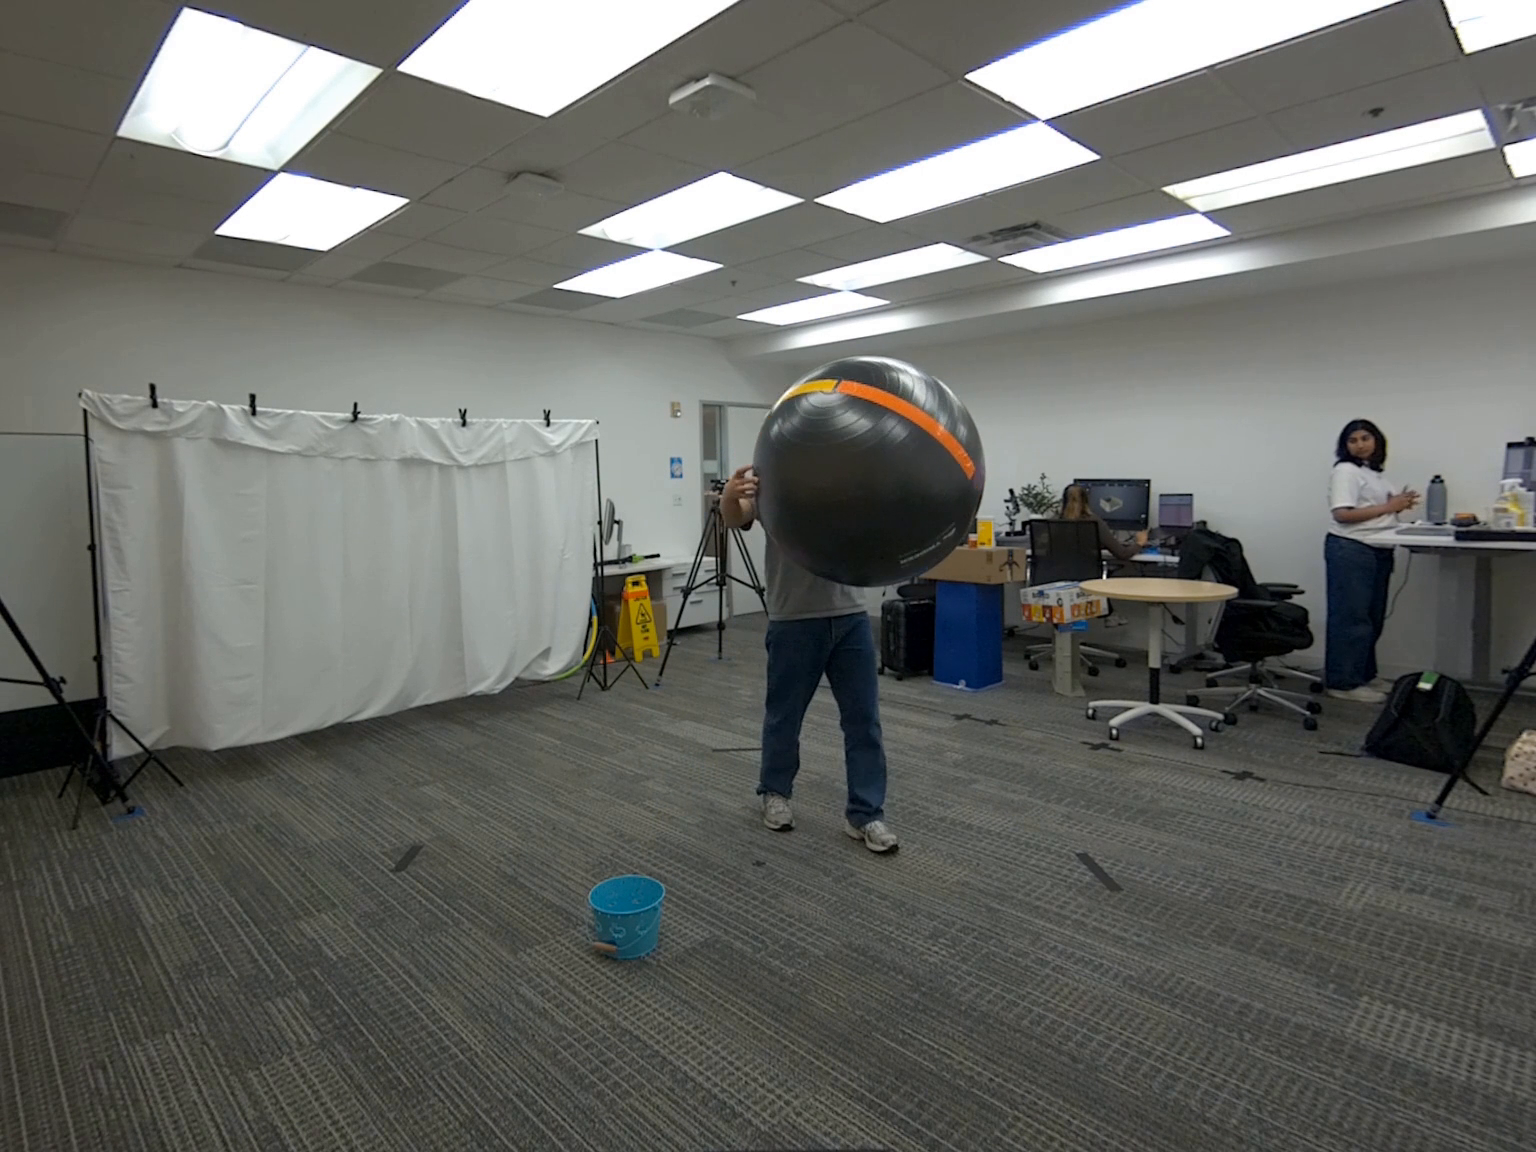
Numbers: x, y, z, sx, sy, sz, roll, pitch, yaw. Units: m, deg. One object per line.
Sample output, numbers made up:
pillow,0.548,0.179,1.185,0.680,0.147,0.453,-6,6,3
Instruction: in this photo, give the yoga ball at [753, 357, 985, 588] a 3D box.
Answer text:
yoga ball,0.333,-0.337,2.835,0.757,0.755,0.762,-1,5,-2
